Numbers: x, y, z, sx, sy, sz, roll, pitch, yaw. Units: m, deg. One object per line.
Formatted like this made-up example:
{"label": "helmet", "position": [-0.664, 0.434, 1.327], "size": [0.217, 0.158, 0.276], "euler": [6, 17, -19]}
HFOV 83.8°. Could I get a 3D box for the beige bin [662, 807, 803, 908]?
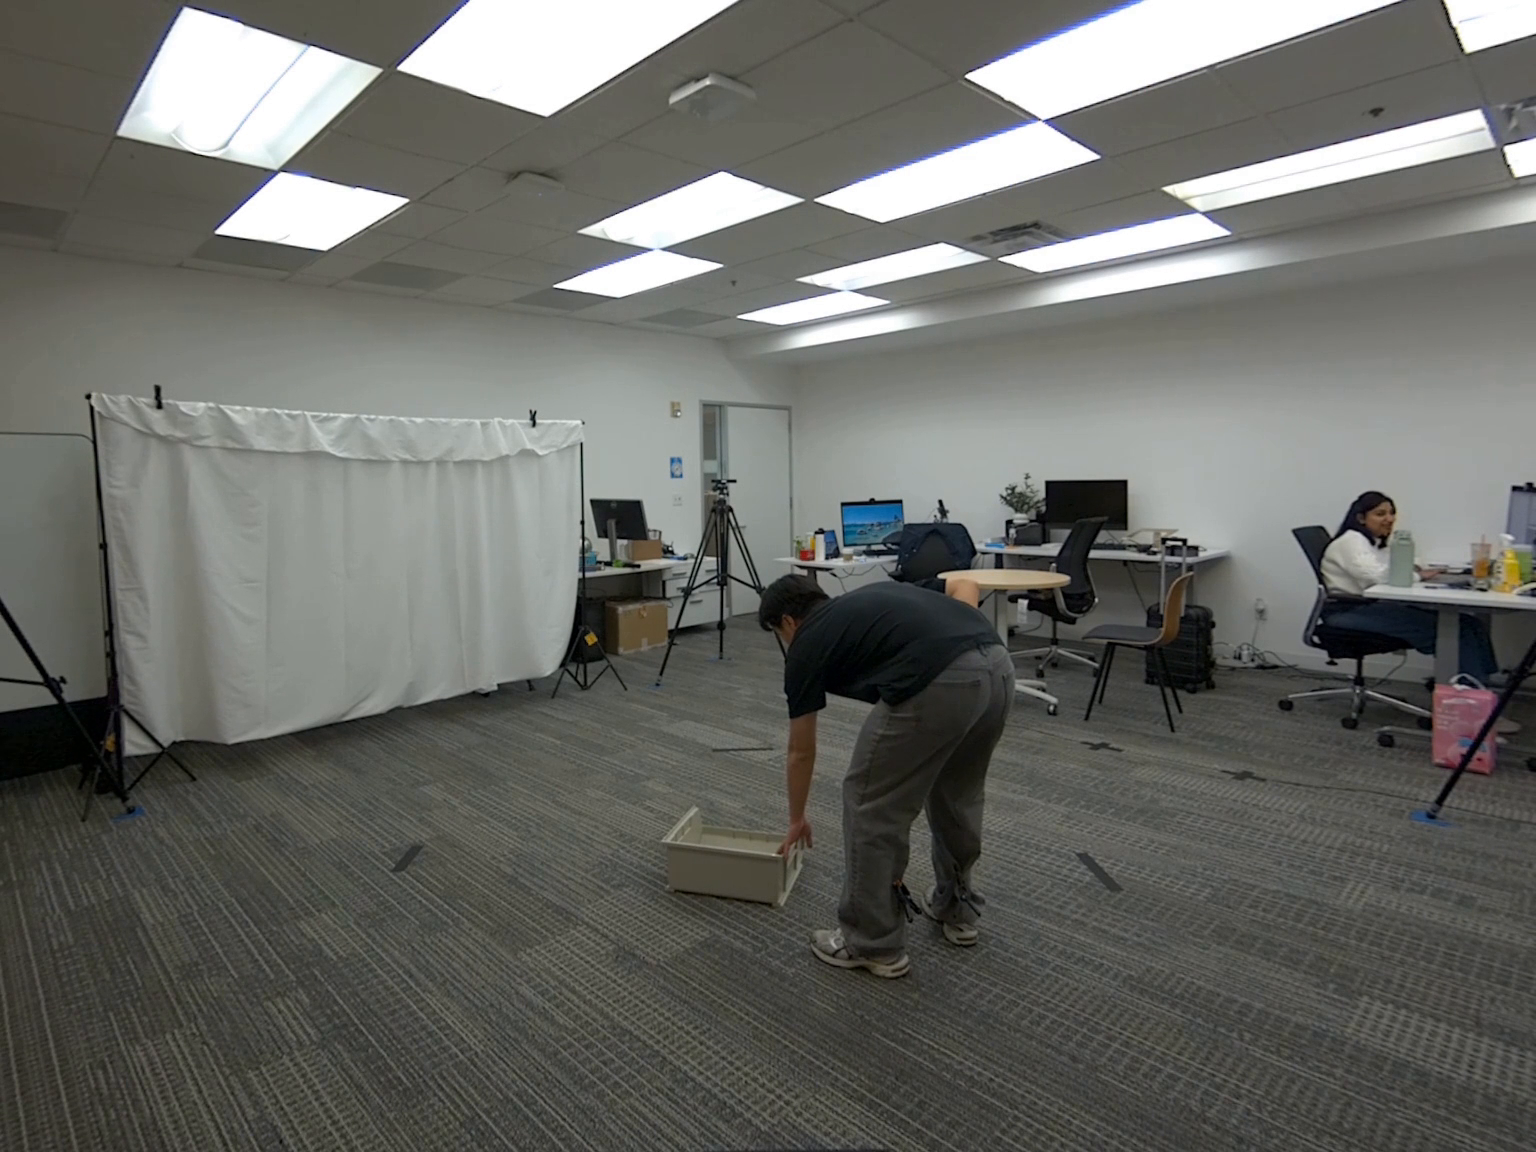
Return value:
{"label": "beige bin", "position": [-0.109, 0.973, 3.011], "size": [0.429, 0.188, 0.373], "euler": [1, 7, 16]}
